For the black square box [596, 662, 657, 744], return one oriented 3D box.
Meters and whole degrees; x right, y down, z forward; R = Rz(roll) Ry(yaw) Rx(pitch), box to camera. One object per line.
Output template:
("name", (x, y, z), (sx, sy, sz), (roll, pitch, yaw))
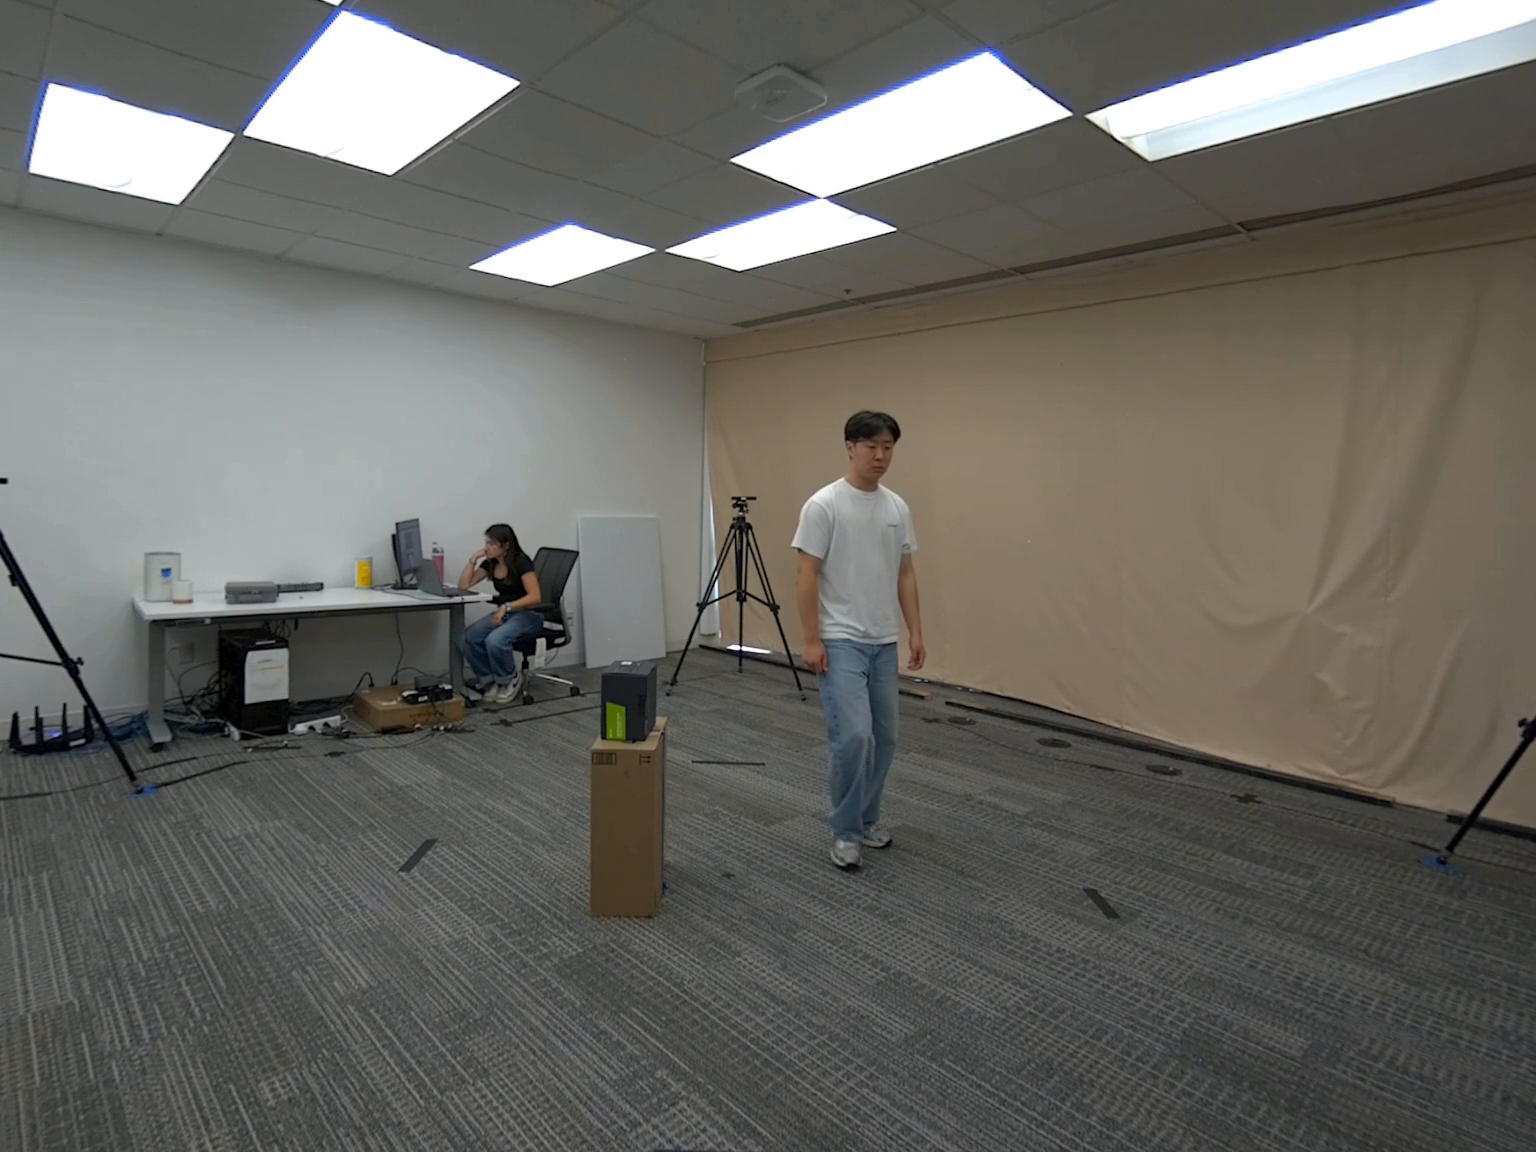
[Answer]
("black square box", (-0.489, 0.433, 2.937), (0.156, 0.227, 0.216), (2, 3, 4))
